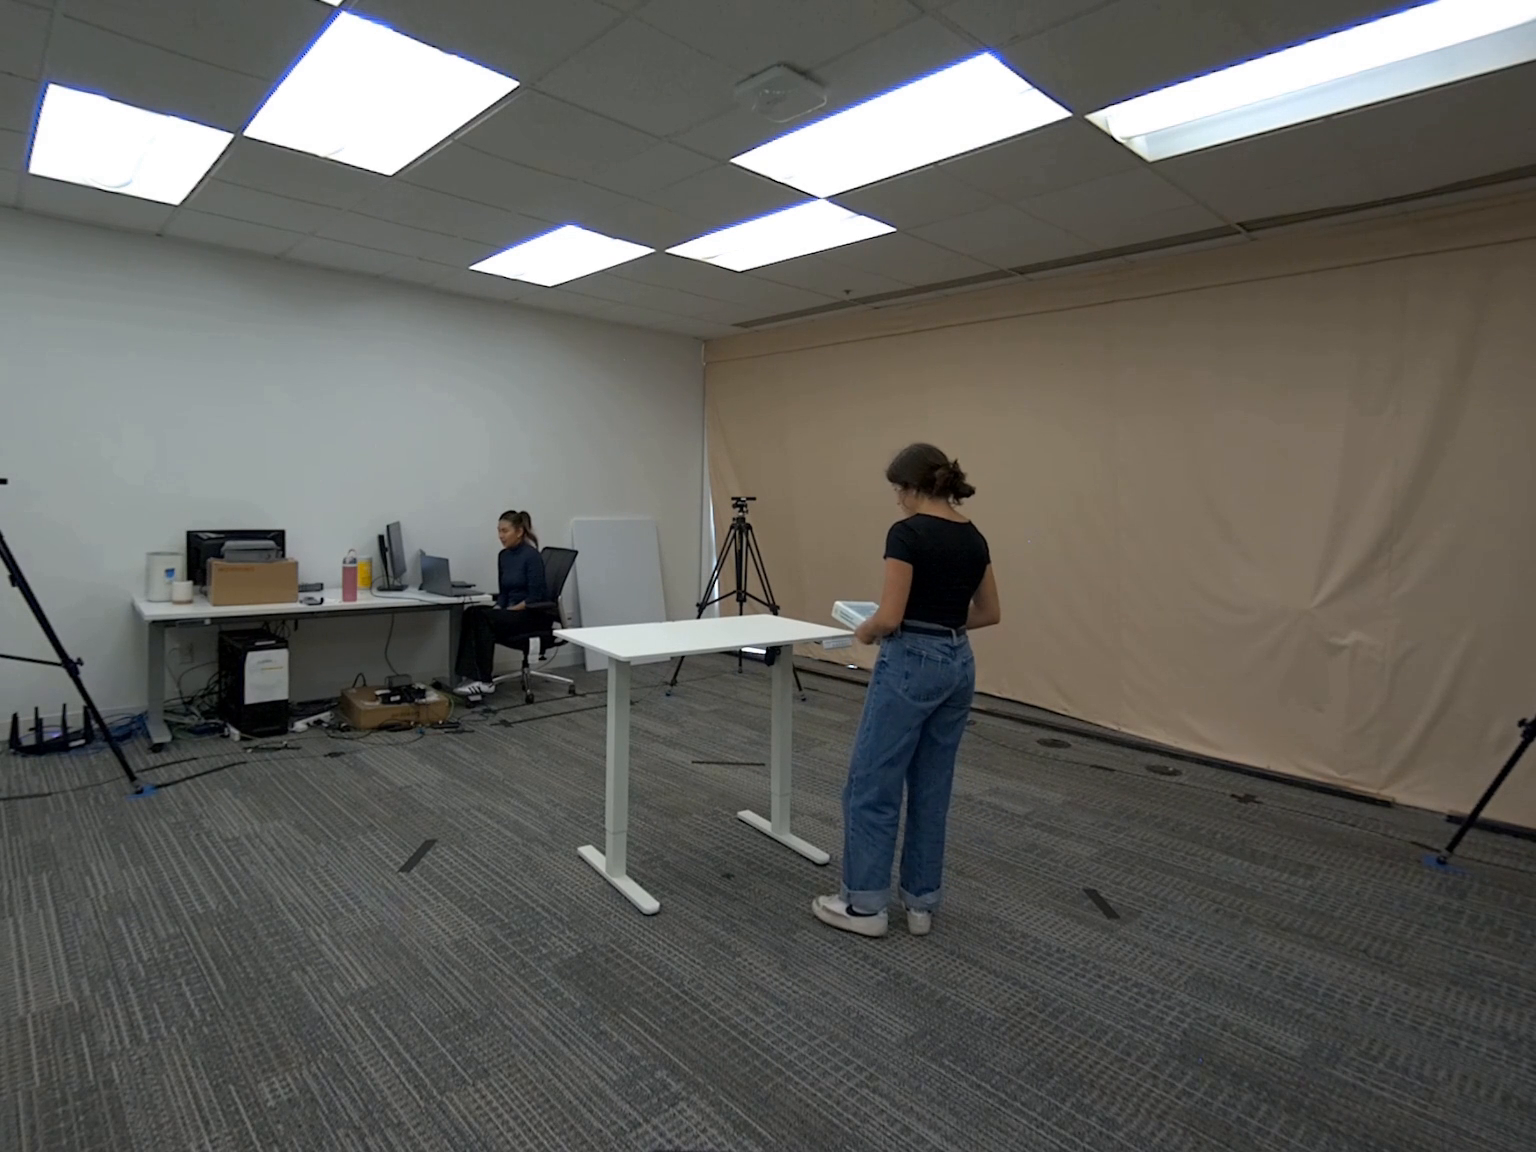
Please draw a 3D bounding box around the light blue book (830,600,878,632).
[{"bbox_3d":[0.393,0.169,3.010,0.187,0.058,0.269,2,17,-36],"label":"light blue book"}]
